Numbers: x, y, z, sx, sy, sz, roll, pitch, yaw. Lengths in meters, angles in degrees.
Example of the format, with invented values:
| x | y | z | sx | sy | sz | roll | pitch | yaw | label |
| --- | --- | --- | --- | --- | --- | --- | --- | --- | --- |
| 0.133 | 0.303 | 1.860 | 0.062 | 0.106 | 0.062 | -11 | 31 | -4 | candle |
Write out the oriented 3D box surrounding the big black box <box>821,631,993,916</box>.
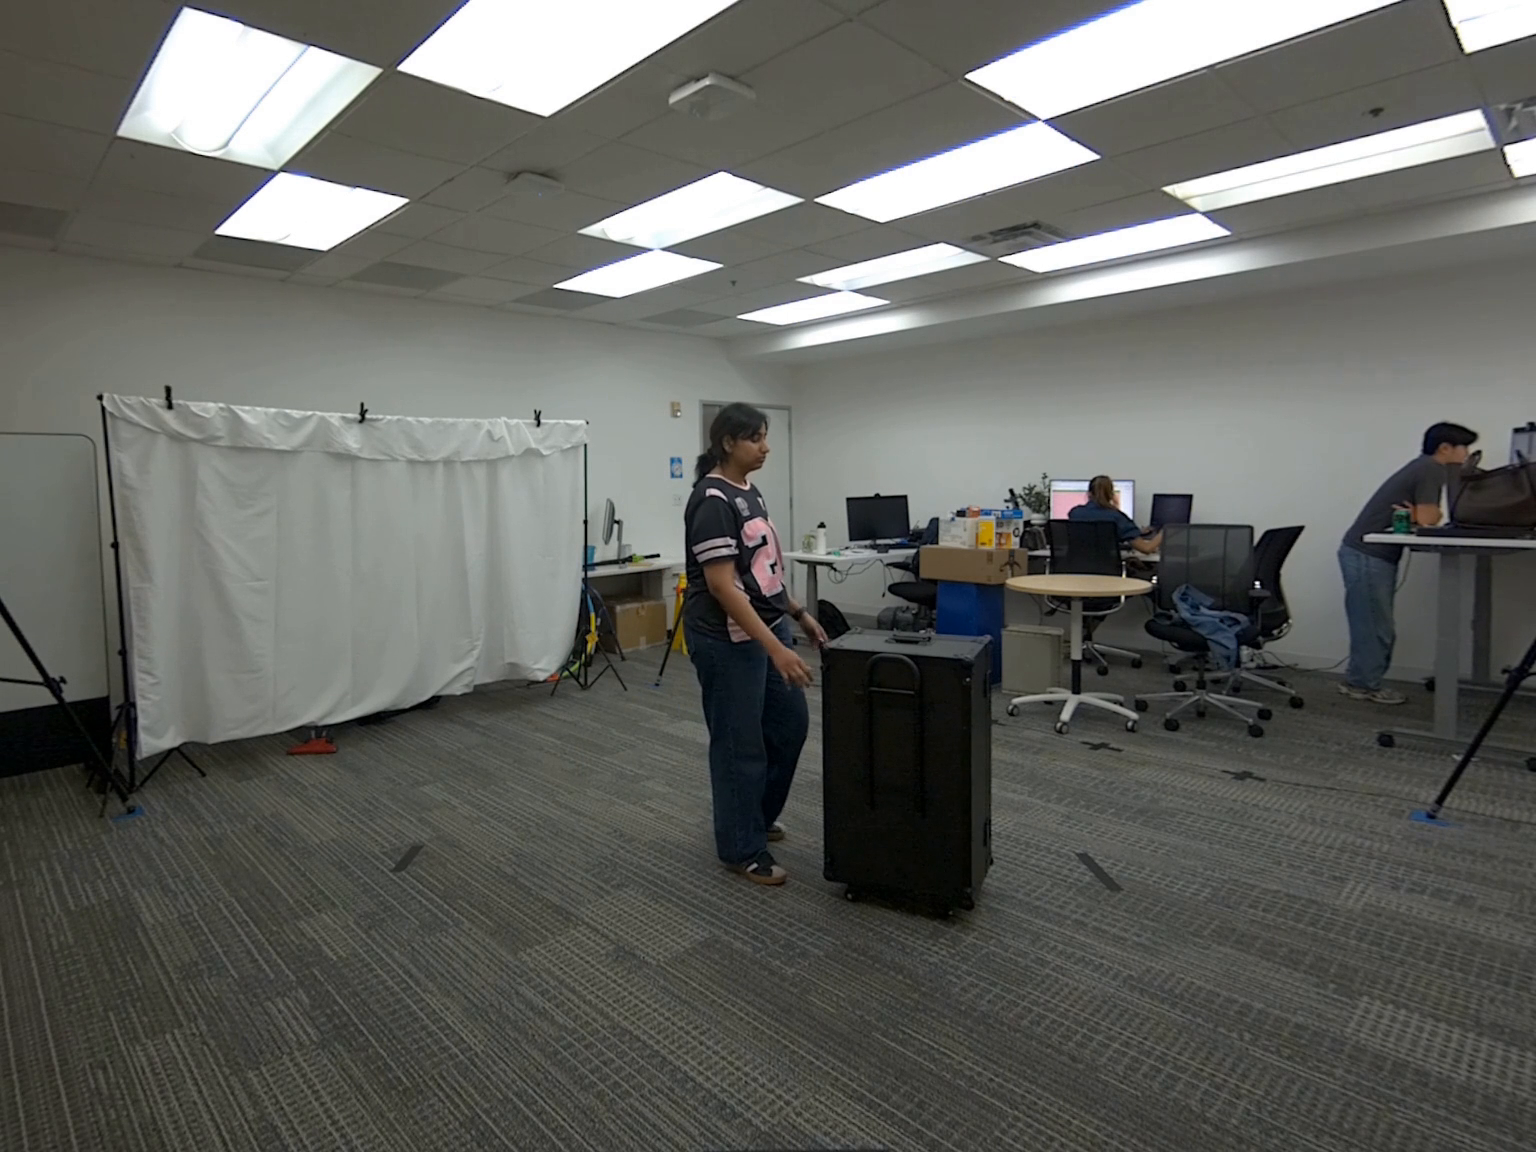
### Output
| x | y | z | sx | sy | sz | roll | pitch | yaw | label |
| --- | --- | --- | --- | --- | --- | --- | --- | --- | --- |
| 0.476 | 0.648 | 2.835 | 0.535 | 0.865 | 0.378 | 1 | 5 | 25 | big black box |
